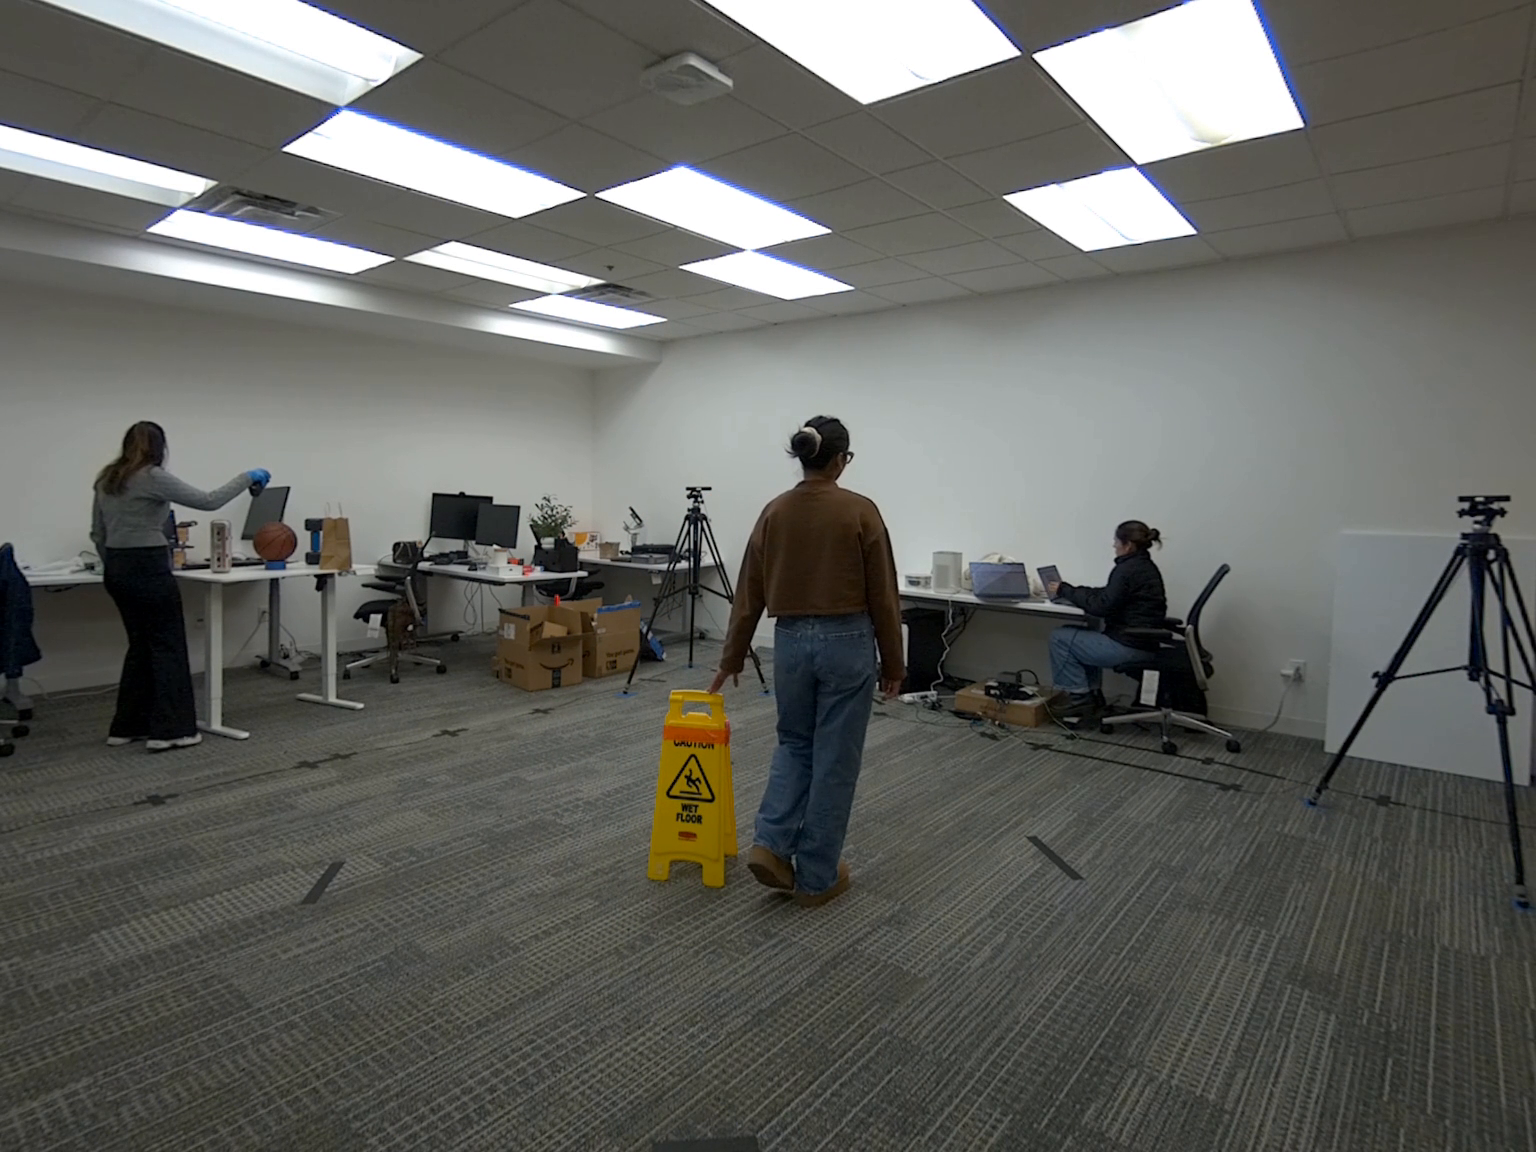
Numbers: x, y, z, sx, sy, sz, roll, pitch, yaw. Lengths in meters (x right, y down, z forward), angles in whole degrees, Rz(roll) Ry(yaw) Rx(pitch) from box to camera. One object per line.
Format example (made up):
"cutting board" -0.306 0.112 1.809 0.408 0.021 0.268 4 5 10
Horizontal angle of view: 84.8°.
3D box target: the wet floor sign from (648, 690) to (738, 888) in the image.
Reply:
"wet floor sign" -0.276 0.742 3.102 0.286 0.644 0.287 1 4 10
